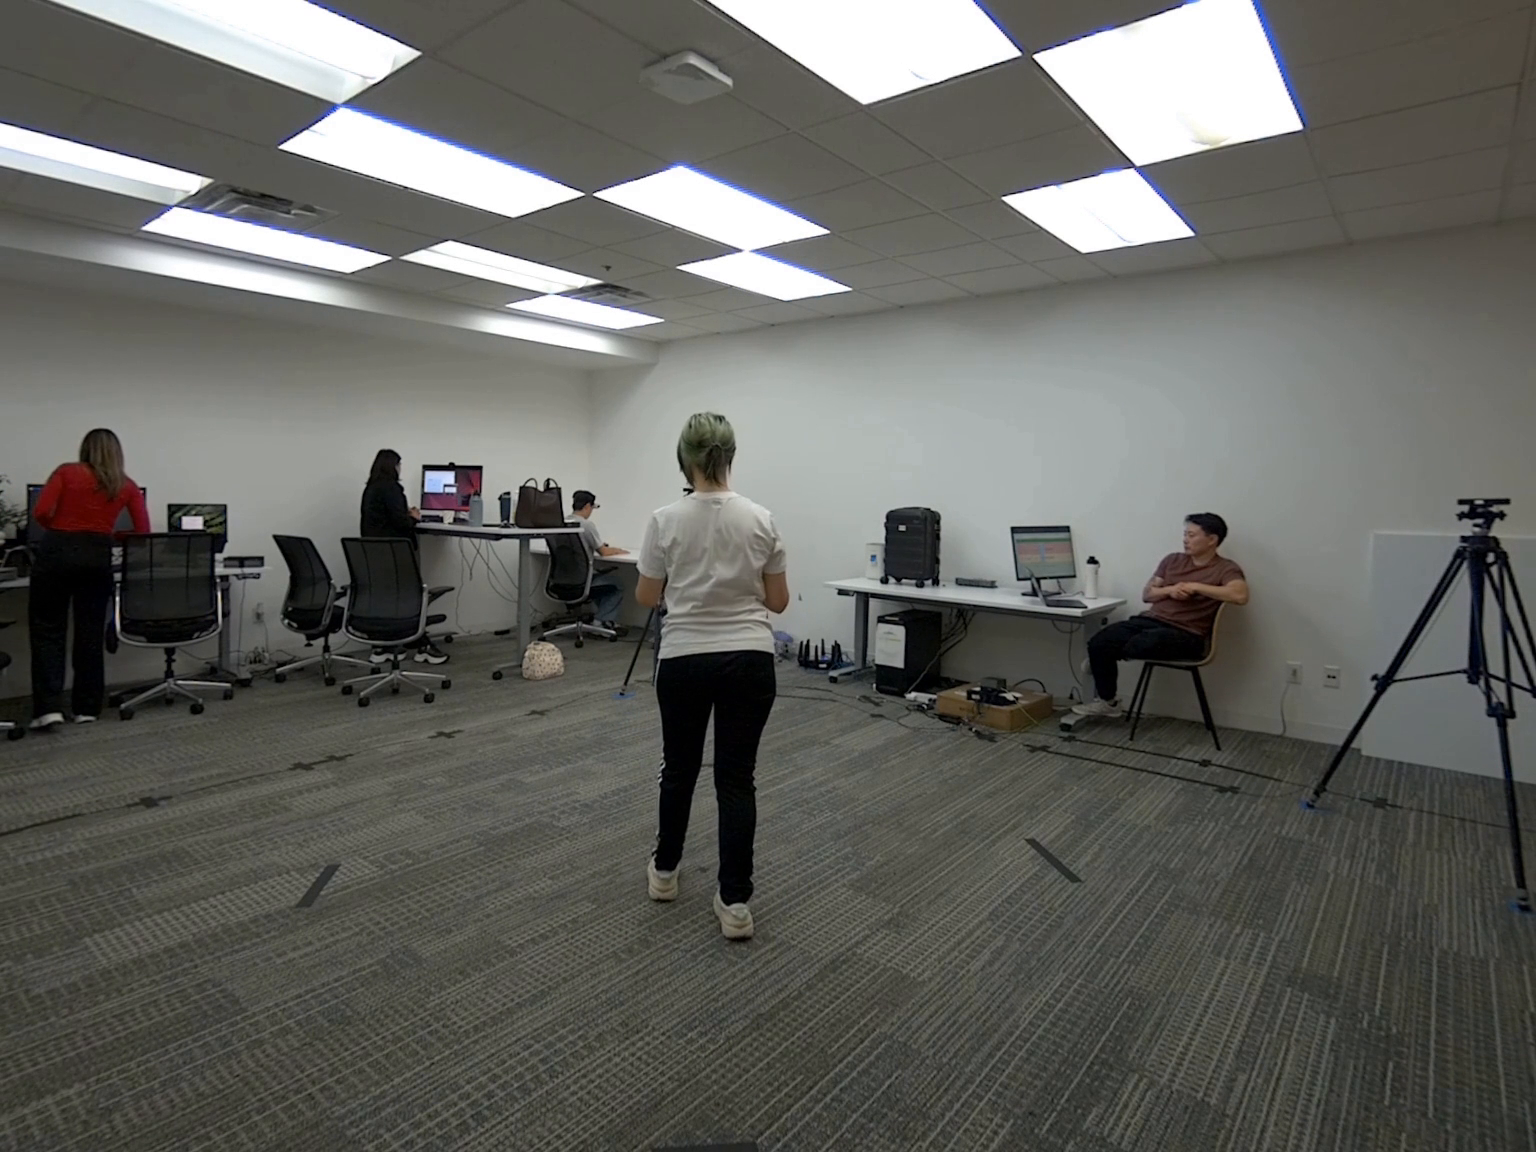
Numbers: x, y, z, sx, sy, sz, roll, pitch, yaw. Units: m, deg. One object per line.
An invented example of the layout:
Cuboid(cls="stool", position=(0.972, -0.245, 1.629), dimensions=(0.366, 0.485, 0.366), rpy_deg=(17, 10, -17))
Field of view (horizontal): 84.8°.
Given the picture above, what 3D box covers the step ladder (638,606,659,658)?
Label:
Cuboid(cls="step ladder", position=(-0.222, 0.066, 3.126), dimensions=(0.429, 0.603, 0.353), rpy_deg=(-2, 6, -5))
